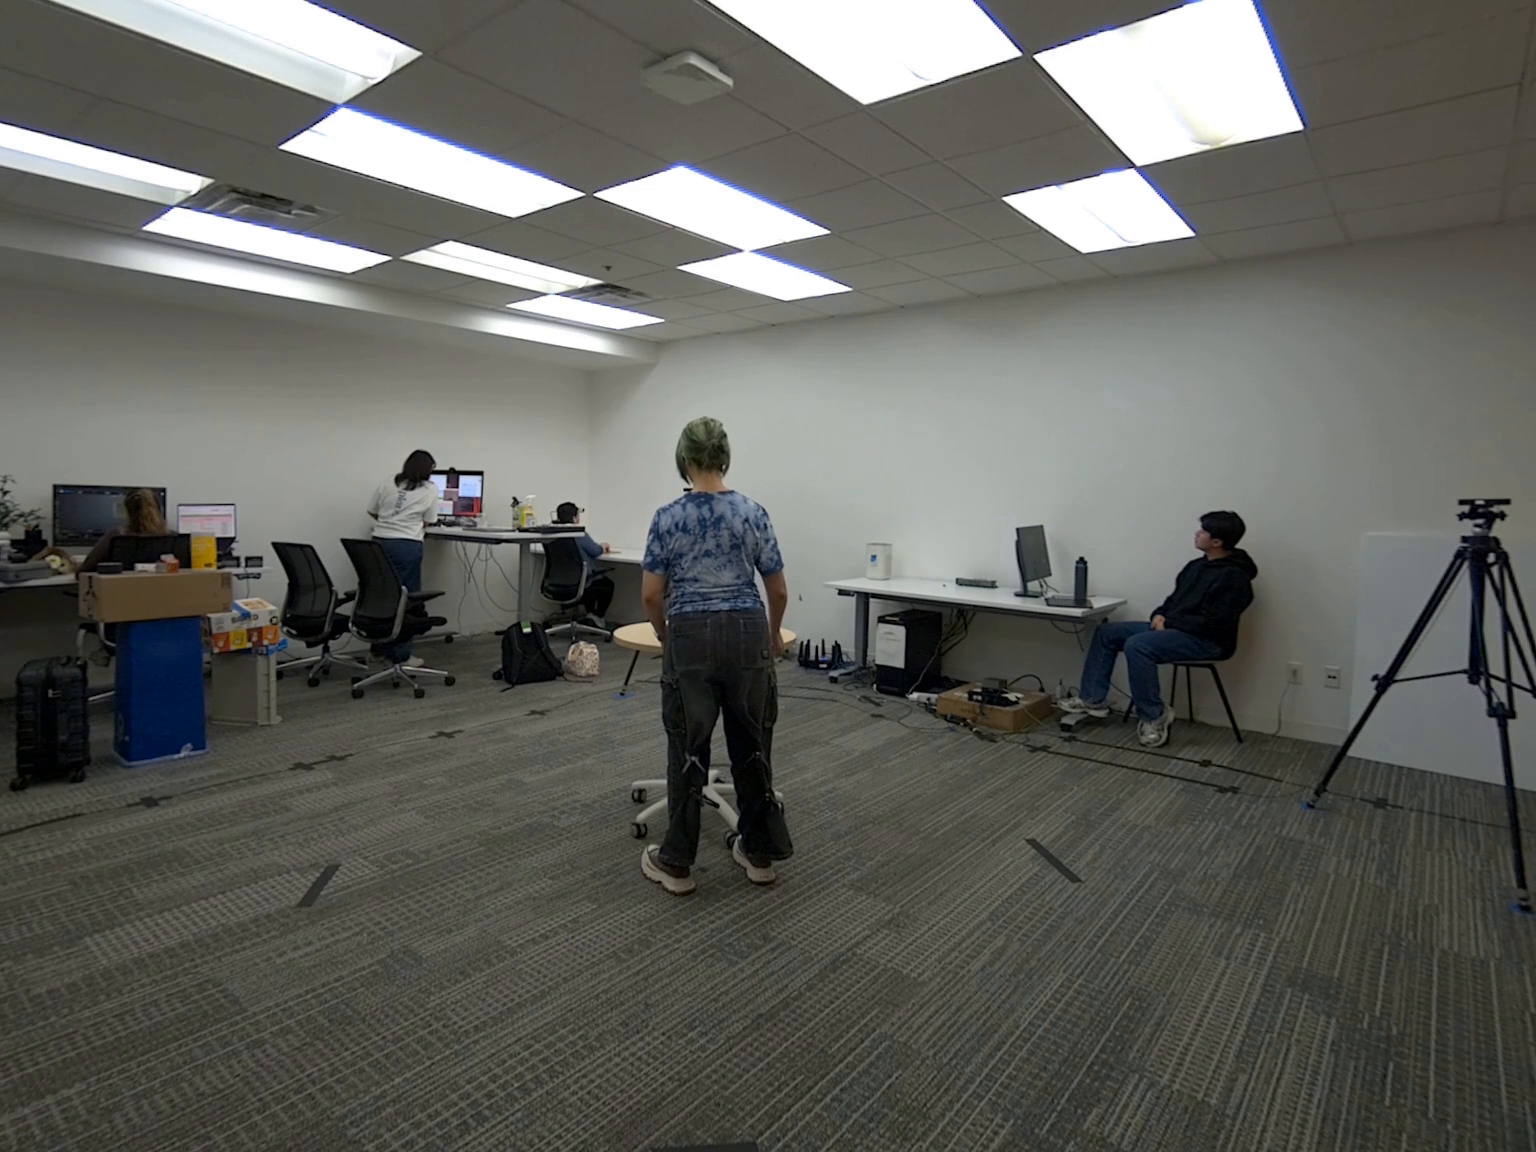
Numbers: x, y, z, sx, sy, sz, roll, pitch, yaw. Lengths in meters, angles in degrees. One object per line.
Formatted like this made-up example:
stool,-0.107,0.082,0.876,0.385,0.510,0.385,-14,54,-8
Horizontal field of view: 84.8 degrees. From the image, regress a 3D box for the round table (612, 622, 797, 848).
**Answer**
round table,-0.297,0.629,3.592,0.763,0.792,0.767,1,4,-2
